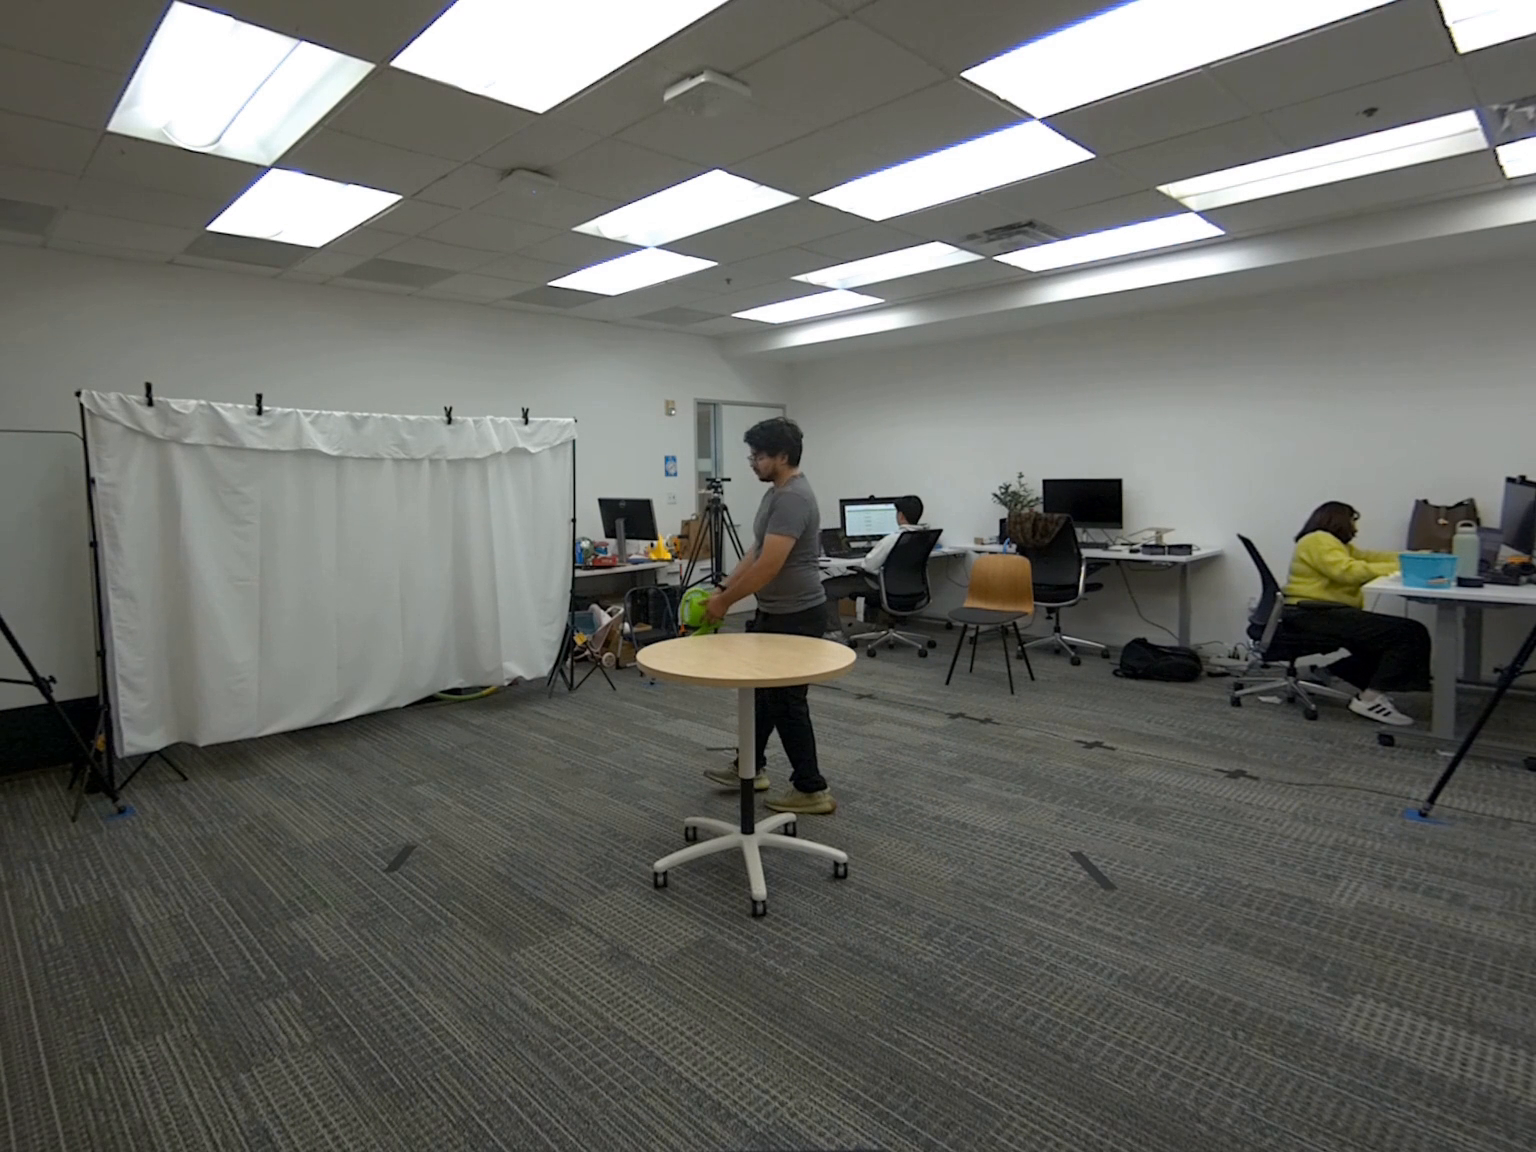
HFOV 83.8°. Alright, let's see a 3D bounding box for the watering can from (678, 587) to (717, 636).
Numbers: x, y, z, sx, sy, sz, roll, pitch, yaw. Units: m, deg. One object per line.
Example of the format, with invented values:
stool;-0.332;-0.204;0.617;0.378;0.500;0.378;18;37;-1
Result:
watering can;-0.286;0.184;3.583;0.174;0.274;0.101;8;23;-13
